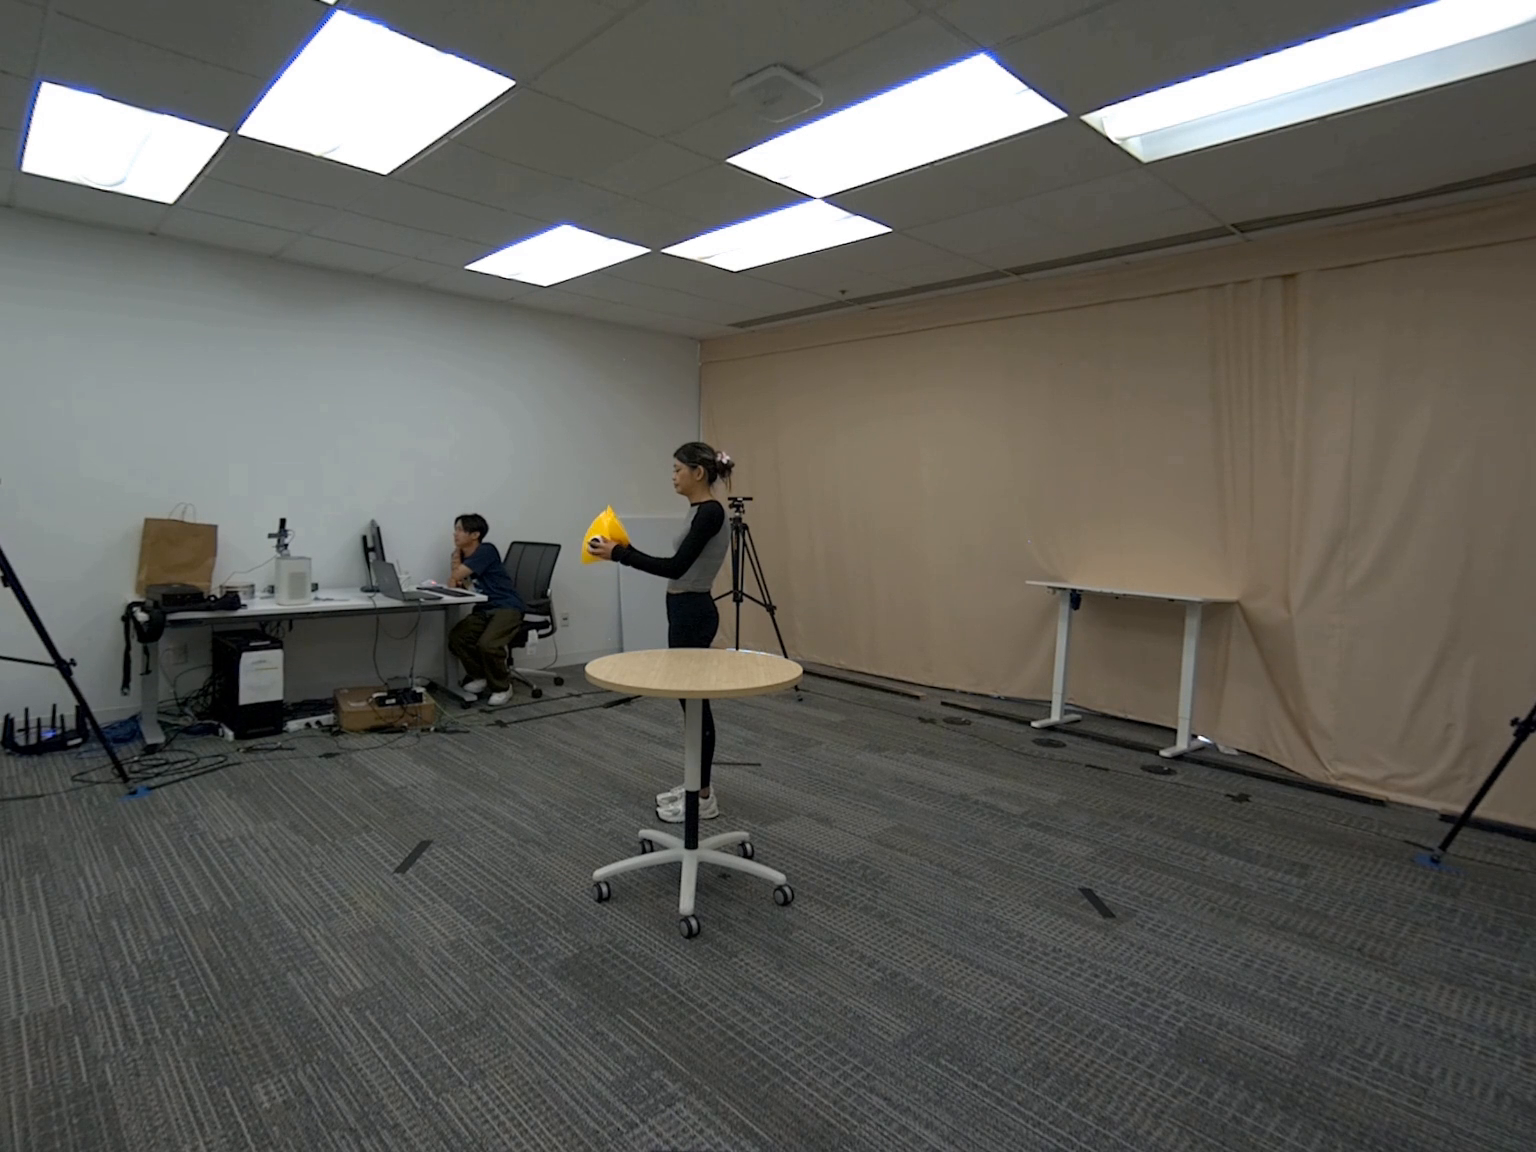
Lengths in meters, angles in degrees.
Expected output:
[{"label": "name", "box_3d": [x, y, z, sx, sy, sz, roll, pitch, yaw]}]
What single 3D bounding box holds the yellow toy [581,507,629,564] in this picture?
[{"label": "yellow toy", "box_3d": [-0.735, -0.154, 3.634, 0.230, 0.189, 0.209, -30, 23, -3]}]
